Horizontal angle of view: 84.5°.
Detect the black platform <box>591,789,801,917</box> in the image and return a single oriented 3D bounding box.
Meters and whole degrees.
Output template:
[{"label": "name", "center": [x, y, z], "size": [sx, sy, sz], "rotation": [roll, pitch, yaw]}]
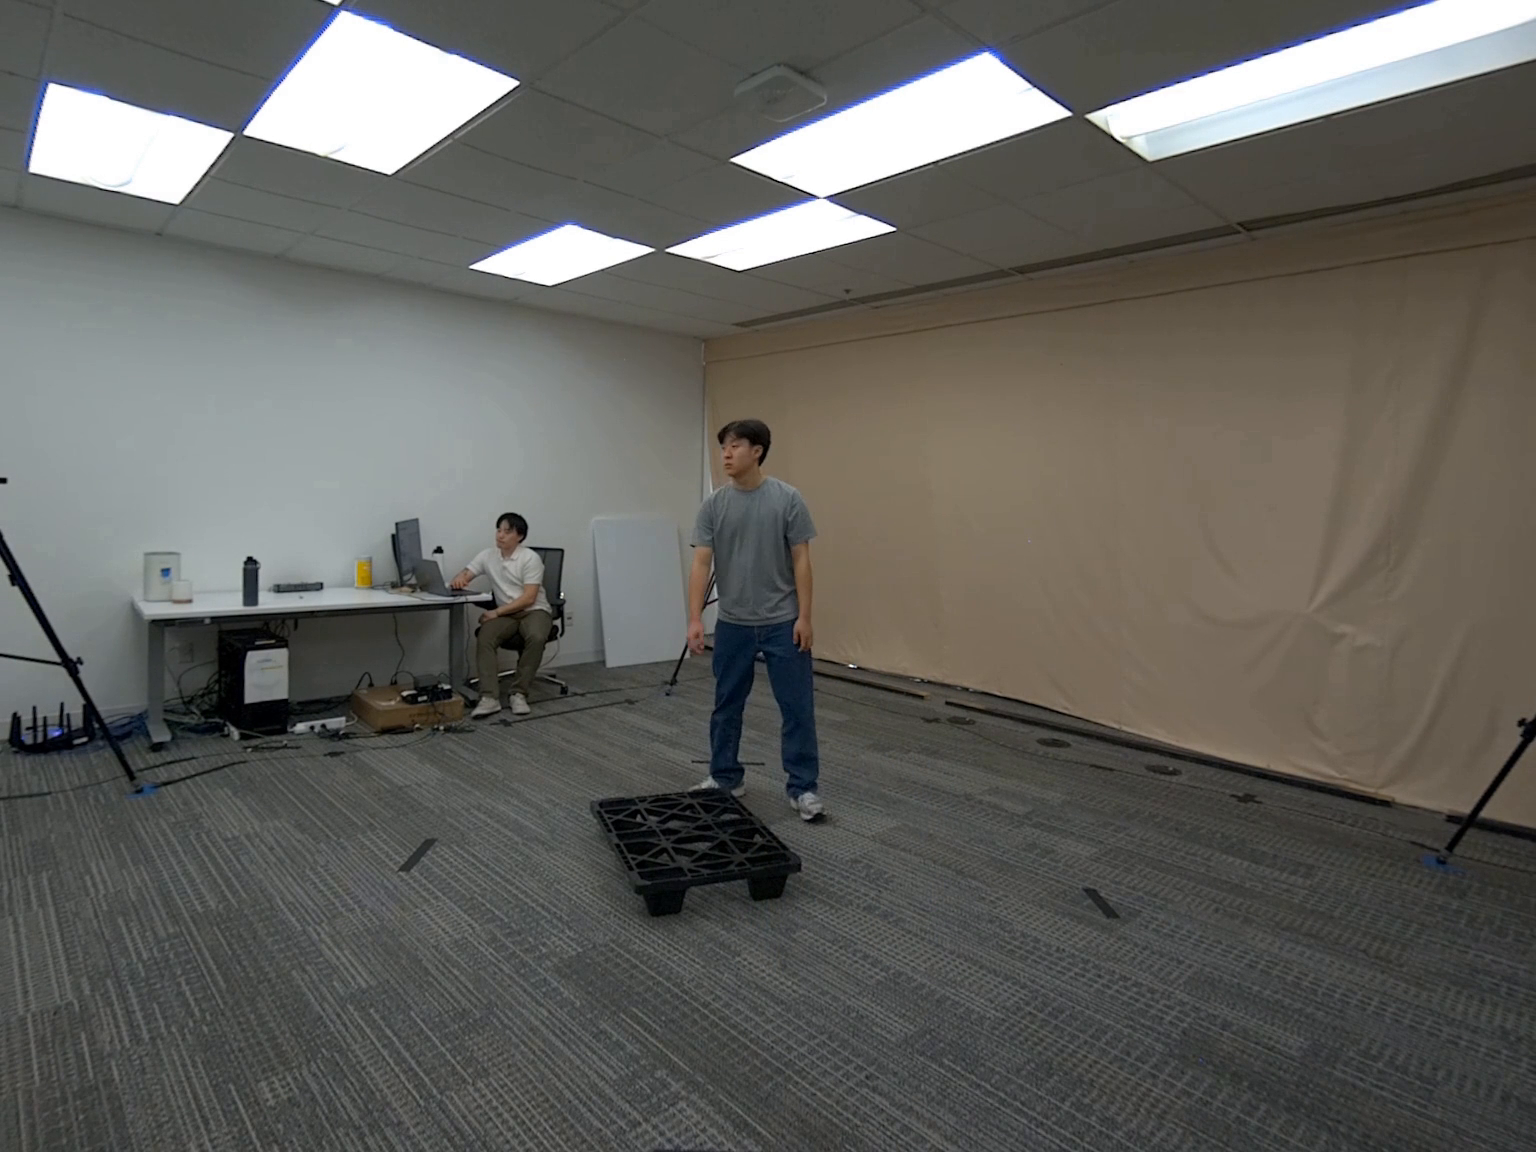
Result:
[{"label": "black platform", "center": [-0.313, 1.024, 3.203], "size": [0.595, 0.143, 0.821], "rotation": [0, 6, -22]}]
